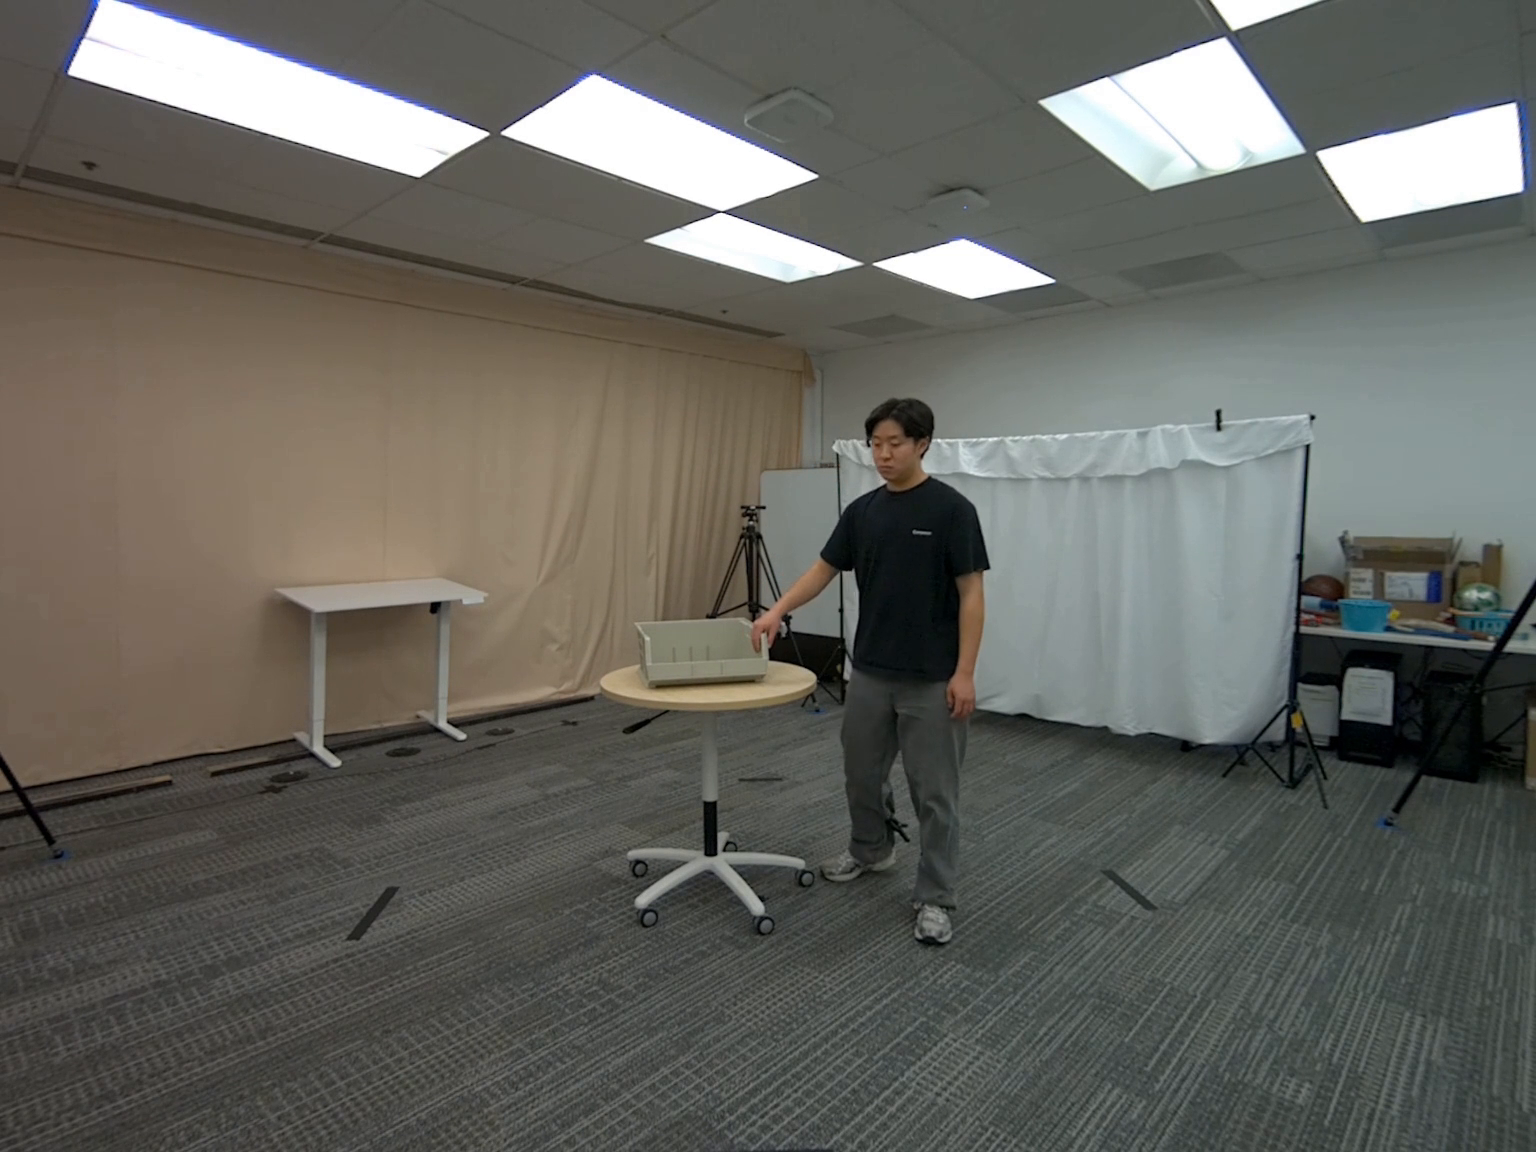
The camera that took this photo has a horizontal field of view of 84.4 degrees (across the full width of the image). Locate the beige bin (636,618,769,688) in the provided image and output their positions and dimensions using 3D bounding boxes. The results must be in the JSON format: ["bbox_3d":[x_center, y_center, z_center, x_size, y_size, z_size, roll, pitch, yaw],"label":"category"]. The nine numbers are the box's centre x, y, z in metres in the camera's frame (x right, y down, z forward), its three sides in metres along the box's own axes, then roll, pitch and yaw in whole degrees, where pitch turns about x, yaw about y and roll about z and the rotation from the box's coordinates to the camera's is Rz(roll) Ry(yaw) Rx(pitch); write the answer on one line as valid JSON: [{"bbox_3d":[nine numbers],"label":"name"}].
[{"bbox_3d":[-0.245,0.272,2.998,0.417,0.188,0.383,-2,4,-13],"label":"beige bin"}]
